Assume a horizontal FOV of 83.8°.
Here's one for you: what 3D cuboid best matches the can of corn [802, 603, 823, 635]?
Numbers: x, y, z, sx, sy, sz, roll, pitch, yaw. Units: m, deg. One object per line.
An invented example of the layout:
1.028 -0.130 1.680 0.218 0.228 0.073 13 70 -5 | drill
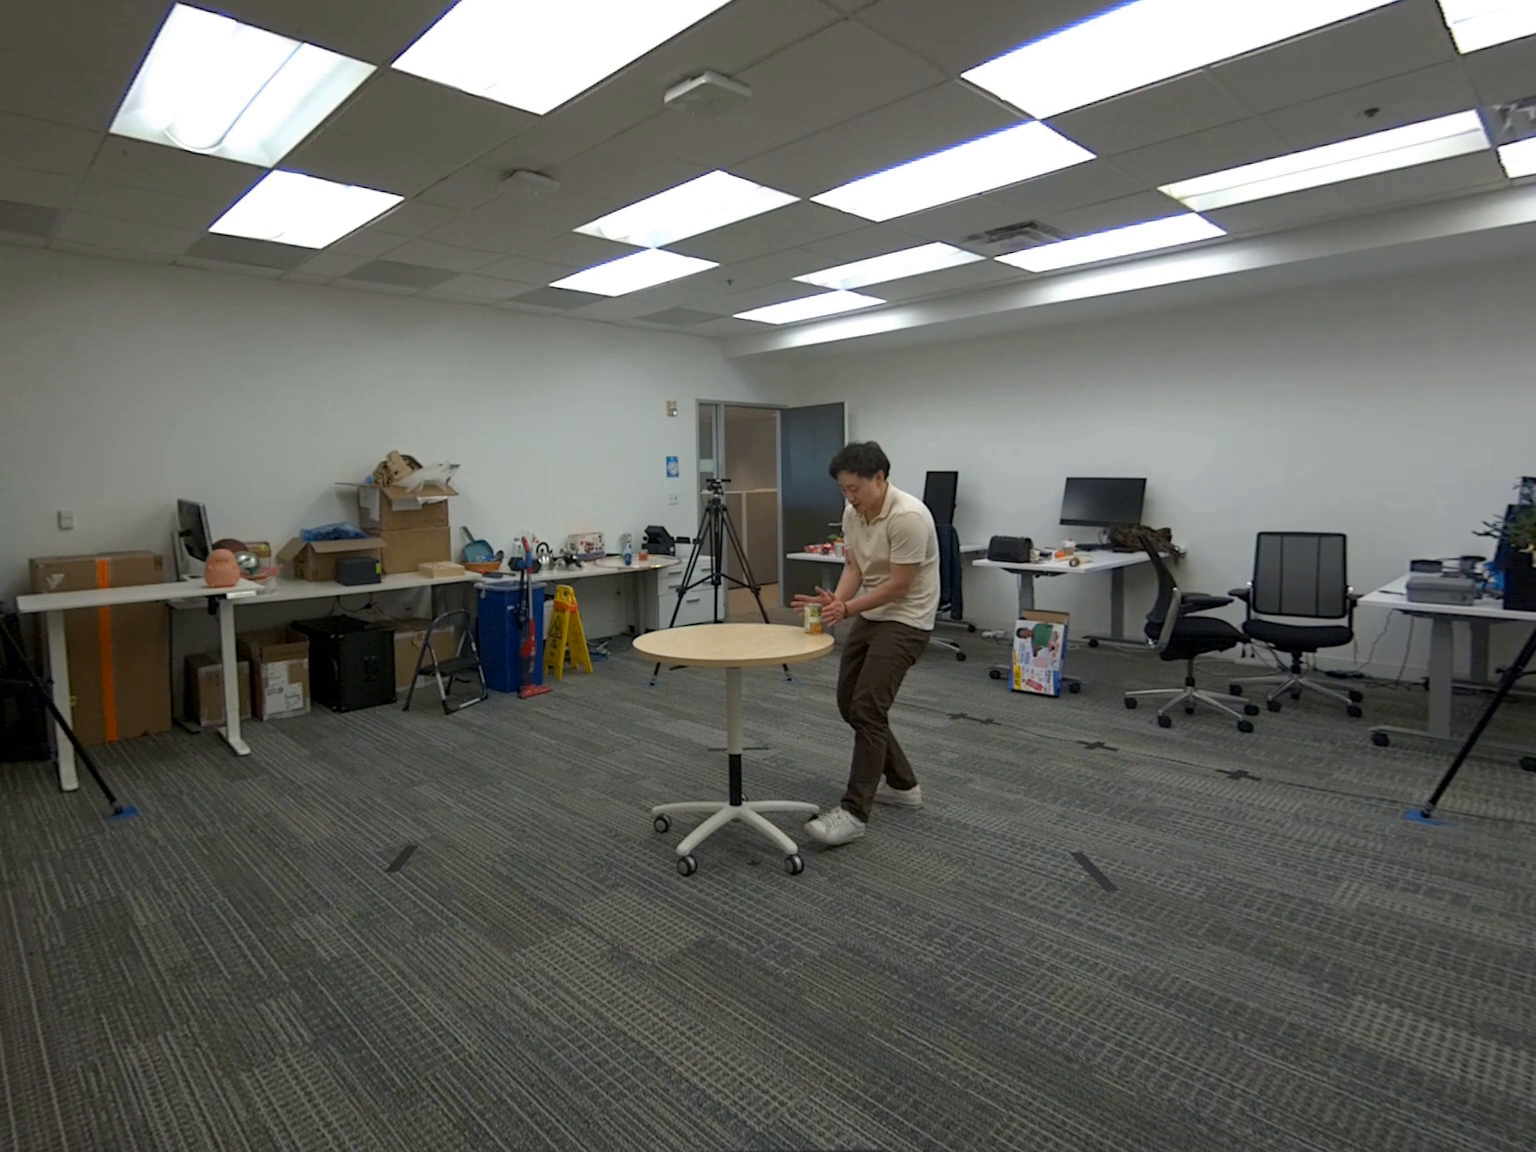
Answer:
0.188 0.174 3.382 0.074 0.111 0.074 2 2 -2 | can of corn
